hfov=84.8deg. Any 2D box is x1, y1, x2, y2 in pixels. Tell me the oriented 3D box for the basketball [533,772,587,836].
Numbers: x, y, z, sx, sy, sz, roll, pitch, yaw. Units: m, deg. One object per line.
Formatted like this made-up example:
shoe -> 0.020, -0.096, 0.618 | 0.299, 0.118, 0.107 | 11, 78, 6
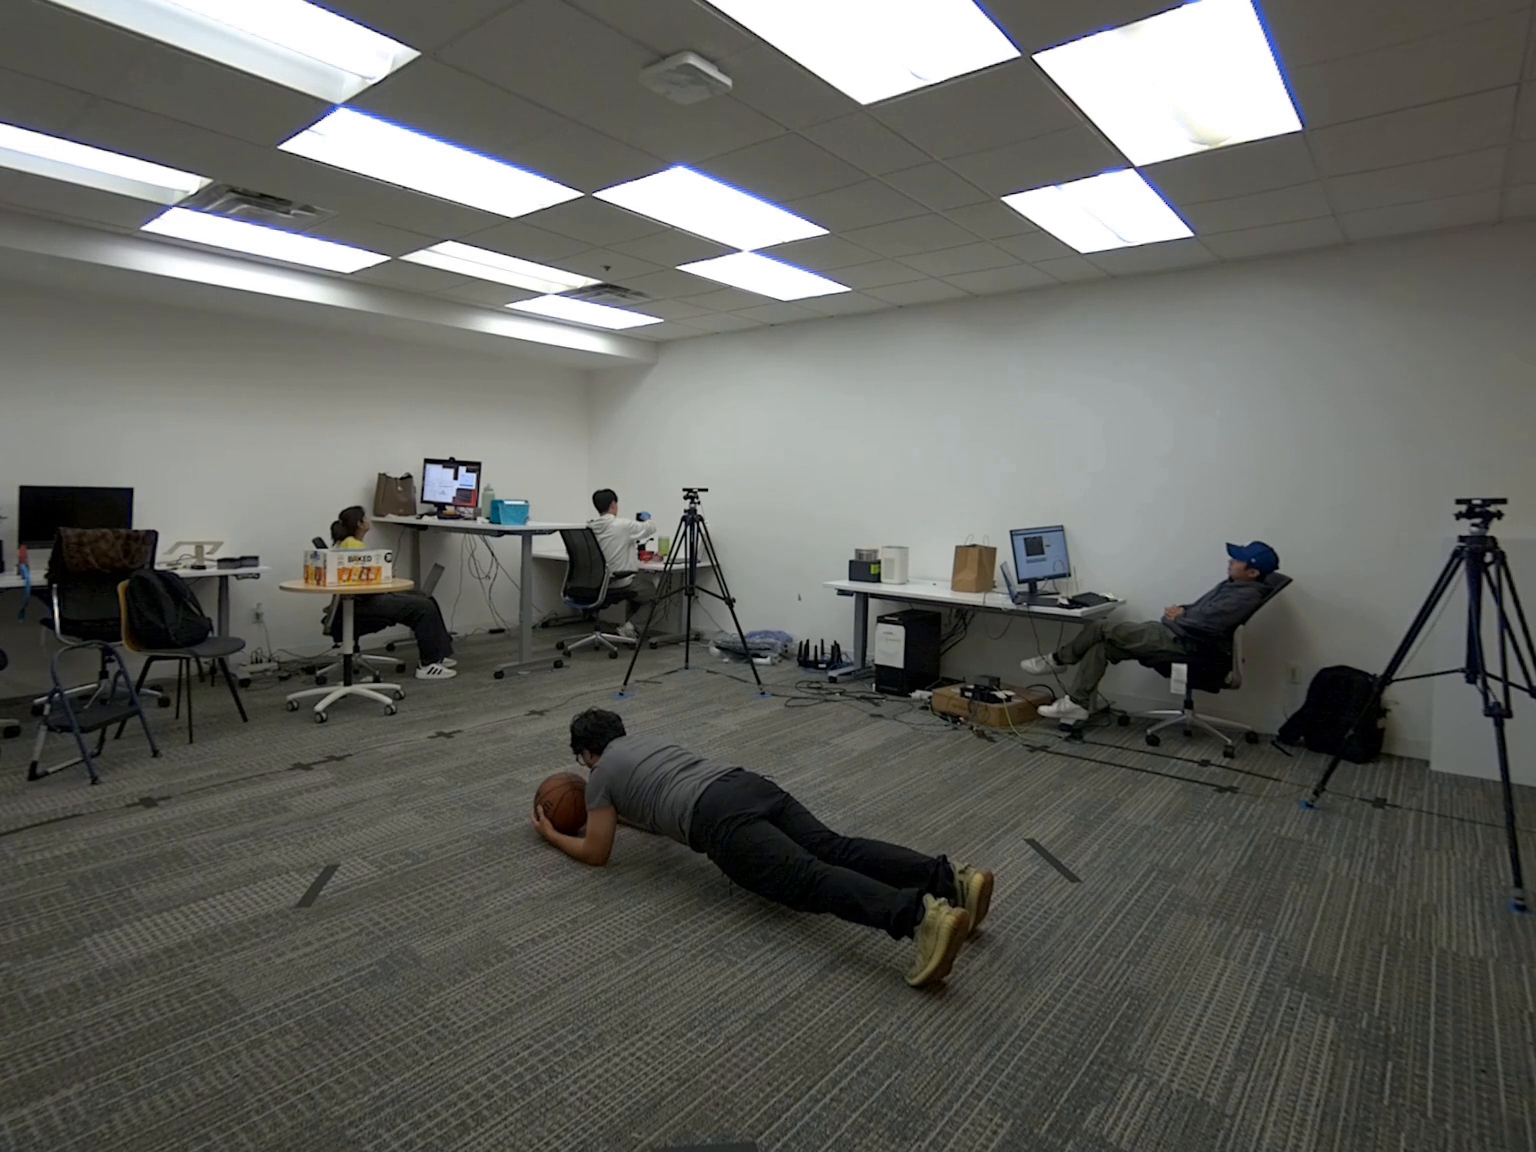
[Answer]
basketball -> -0.831, 0.911, 3.429 | 0.235, 0.235, 0.237 | 1, 4, -2
